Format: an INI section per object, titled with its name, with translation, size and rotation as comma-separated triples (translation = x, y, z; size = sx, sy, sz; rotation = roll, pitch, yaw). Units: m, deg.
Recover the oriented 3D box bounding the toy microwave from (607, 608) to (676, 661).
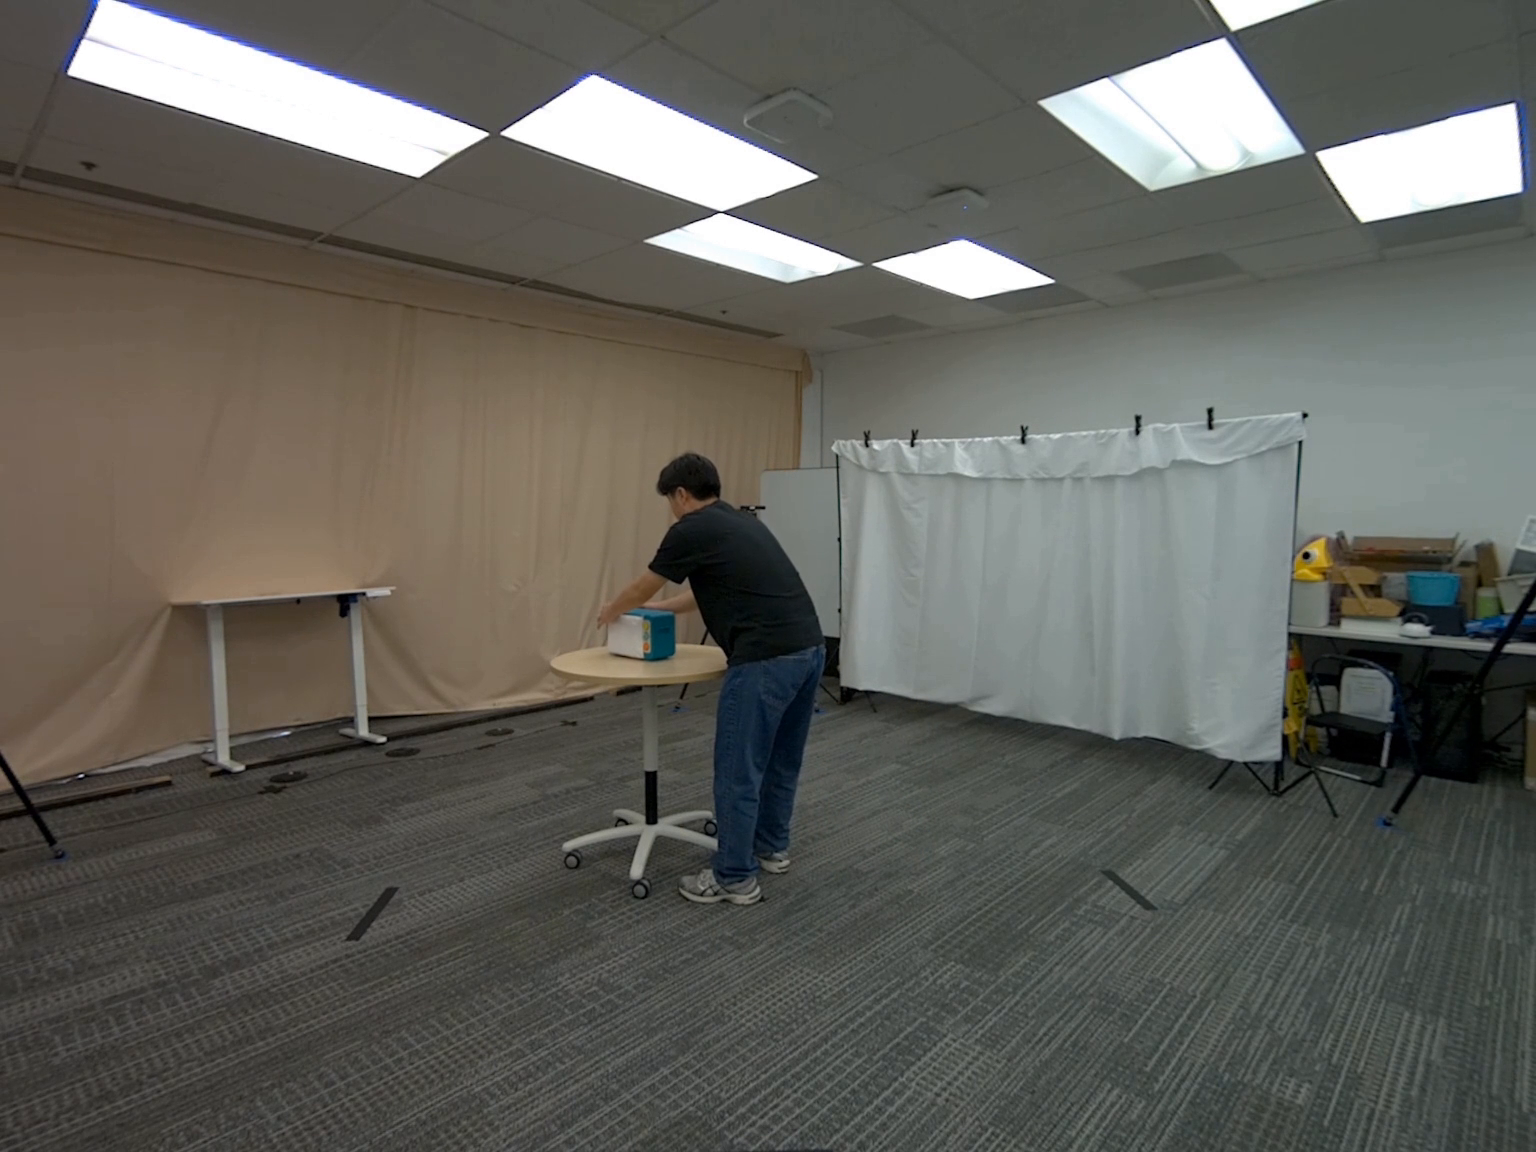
[toy microwave]
translation = -0.517, 0.231, 3.359
size = 0.296, 0.184, 0.148
rotation = 3, 5, 41
